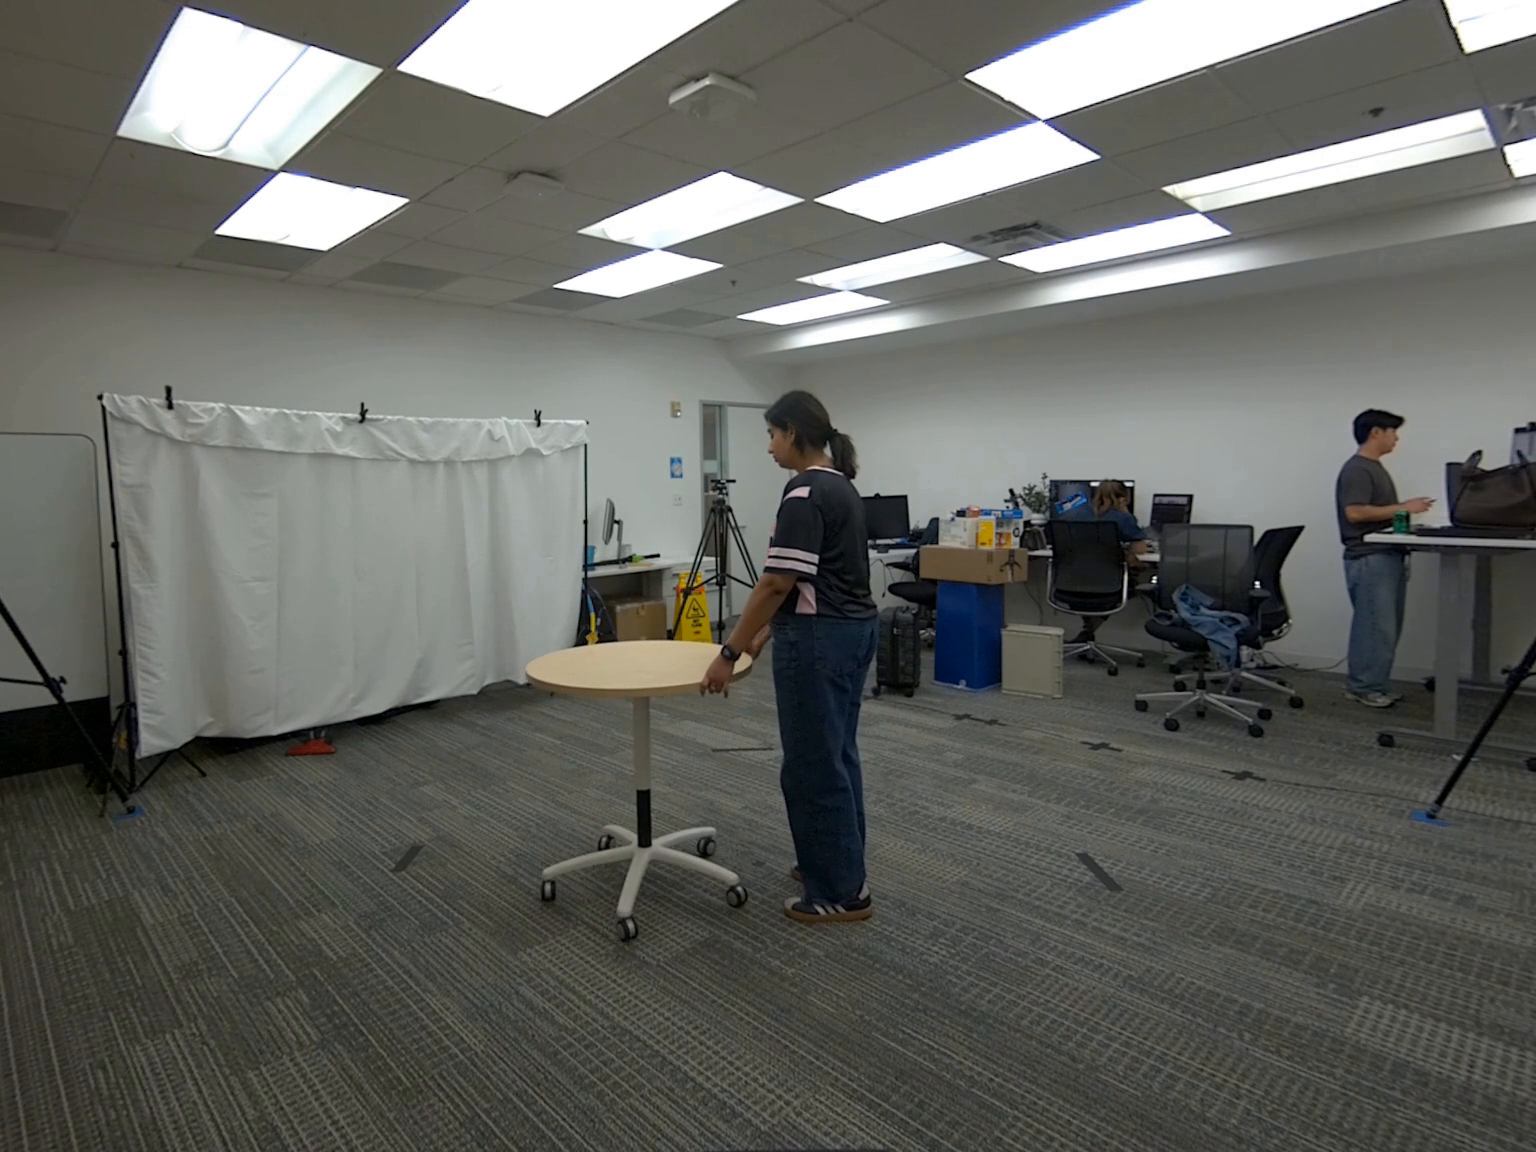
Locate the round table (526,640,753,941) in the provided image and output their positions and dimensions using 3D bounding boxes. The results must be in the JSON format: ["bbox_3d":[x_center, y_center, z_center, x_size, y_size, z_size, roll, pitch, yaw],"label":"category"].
[{"bbox_3d":[-0.410,0.680,2.928,0.784,0.783,0.789,-2,5,-2],"label":"round table"}]
